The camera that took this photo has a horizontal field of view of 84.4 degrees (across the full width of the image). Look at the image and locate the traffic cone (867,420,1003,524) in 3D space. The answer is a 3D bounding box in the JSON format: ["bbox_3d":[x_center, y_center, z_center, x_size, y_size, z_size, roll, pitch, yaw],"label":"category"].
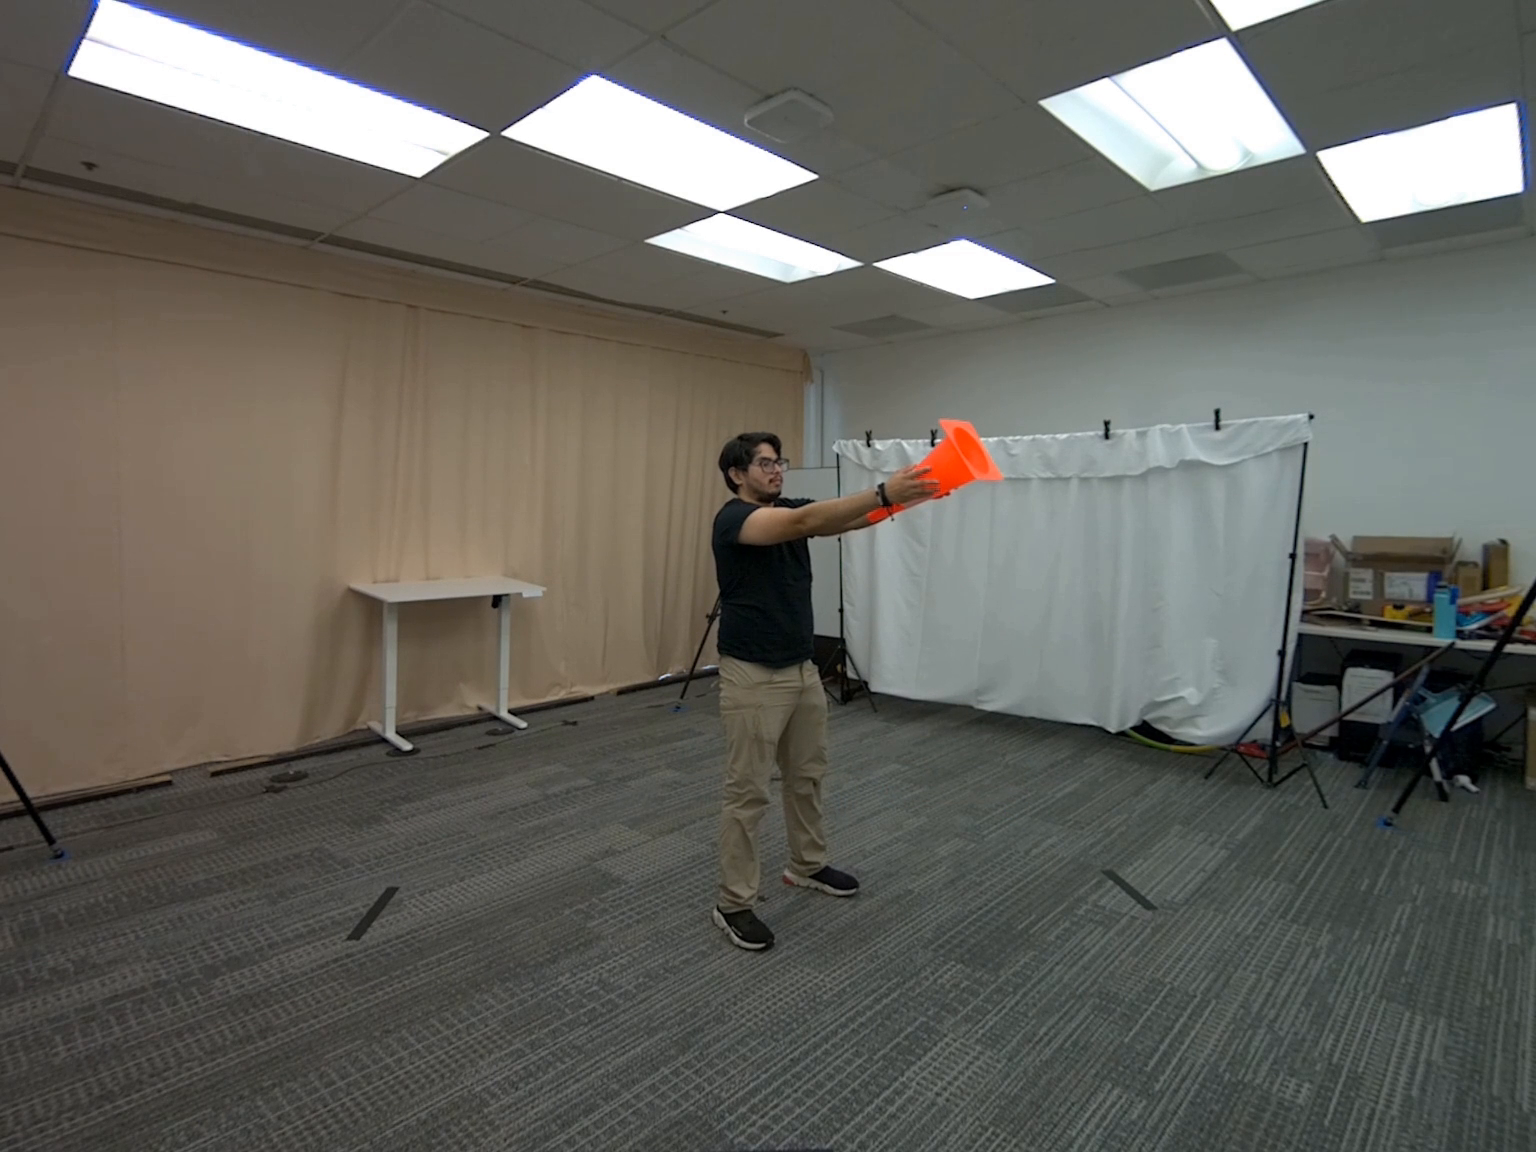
[{"bbox_3d":[0.449,-0.260,2.456,0.389,0.206,0.199,-36,-17,35],"label":"traffic cone"}]
